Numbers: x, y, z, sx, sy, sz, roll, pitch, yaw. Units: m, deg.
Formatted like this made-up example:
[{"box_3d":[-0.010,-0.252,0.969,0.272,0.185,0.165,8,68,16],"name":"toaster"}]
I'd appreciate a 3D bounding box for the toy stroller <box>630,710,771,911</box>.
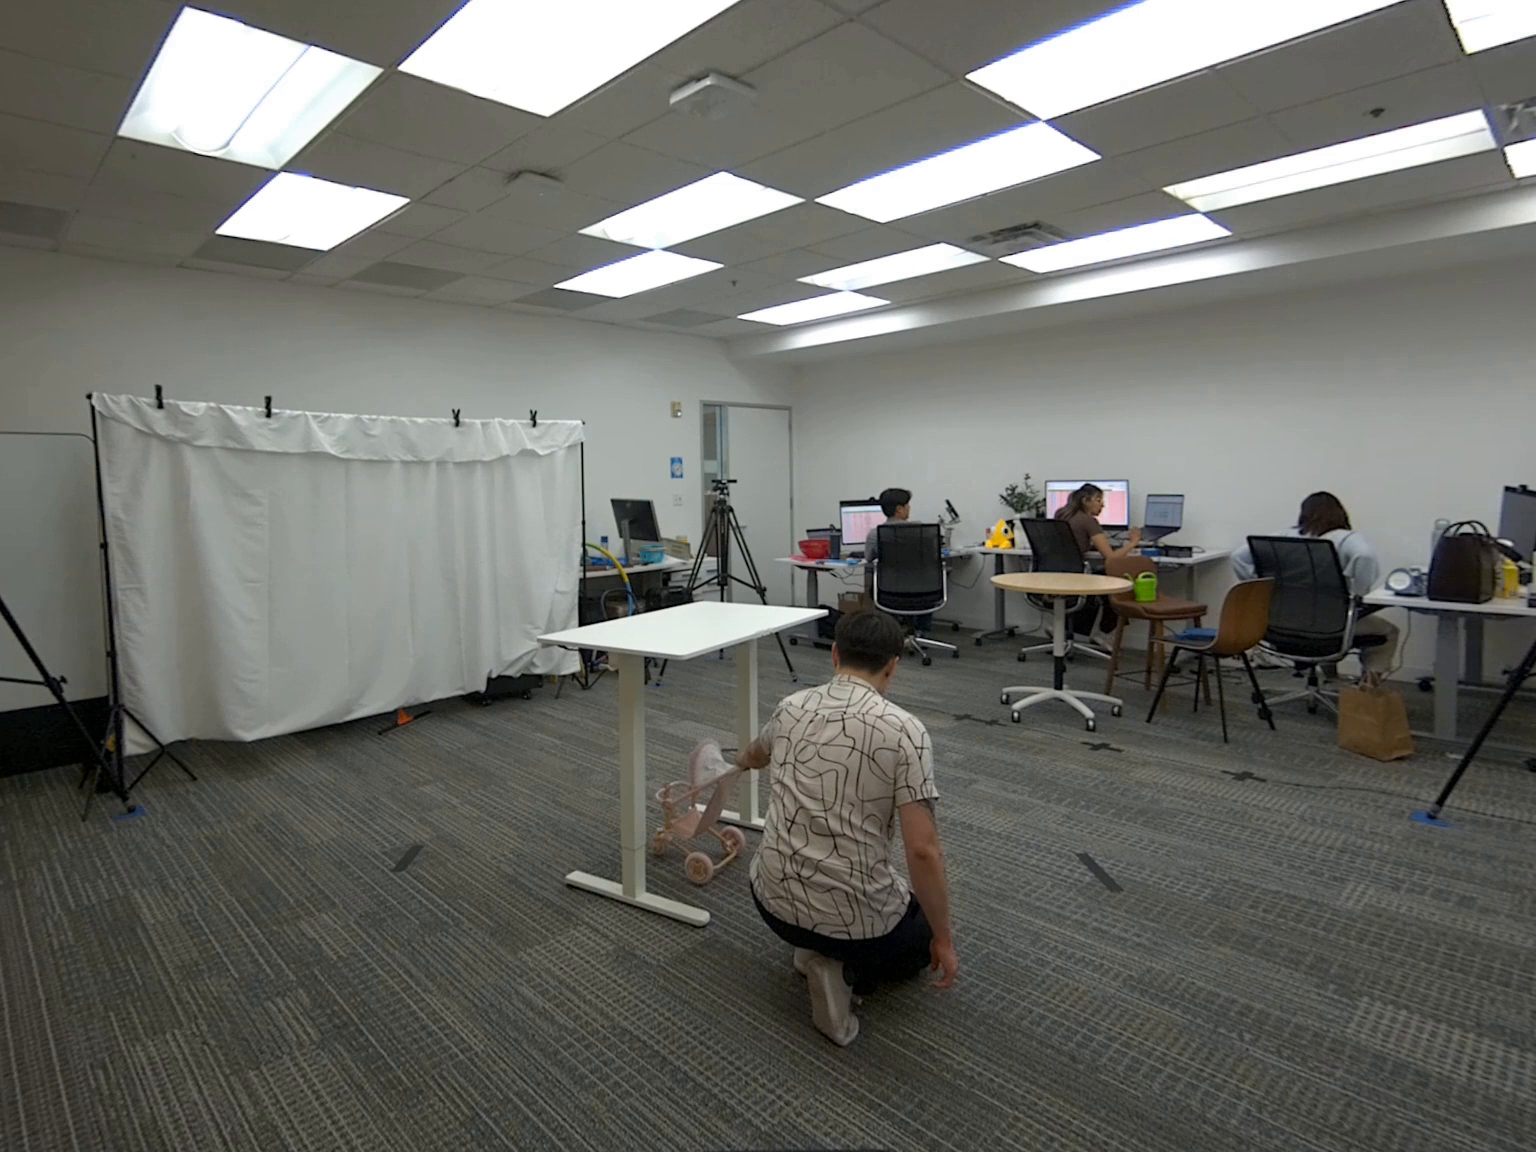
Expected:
[{"box_3d":[-0.228,0.824,3.085,0.352,0.530,0.275,20,14,30],"name":"toy stroller"}]
